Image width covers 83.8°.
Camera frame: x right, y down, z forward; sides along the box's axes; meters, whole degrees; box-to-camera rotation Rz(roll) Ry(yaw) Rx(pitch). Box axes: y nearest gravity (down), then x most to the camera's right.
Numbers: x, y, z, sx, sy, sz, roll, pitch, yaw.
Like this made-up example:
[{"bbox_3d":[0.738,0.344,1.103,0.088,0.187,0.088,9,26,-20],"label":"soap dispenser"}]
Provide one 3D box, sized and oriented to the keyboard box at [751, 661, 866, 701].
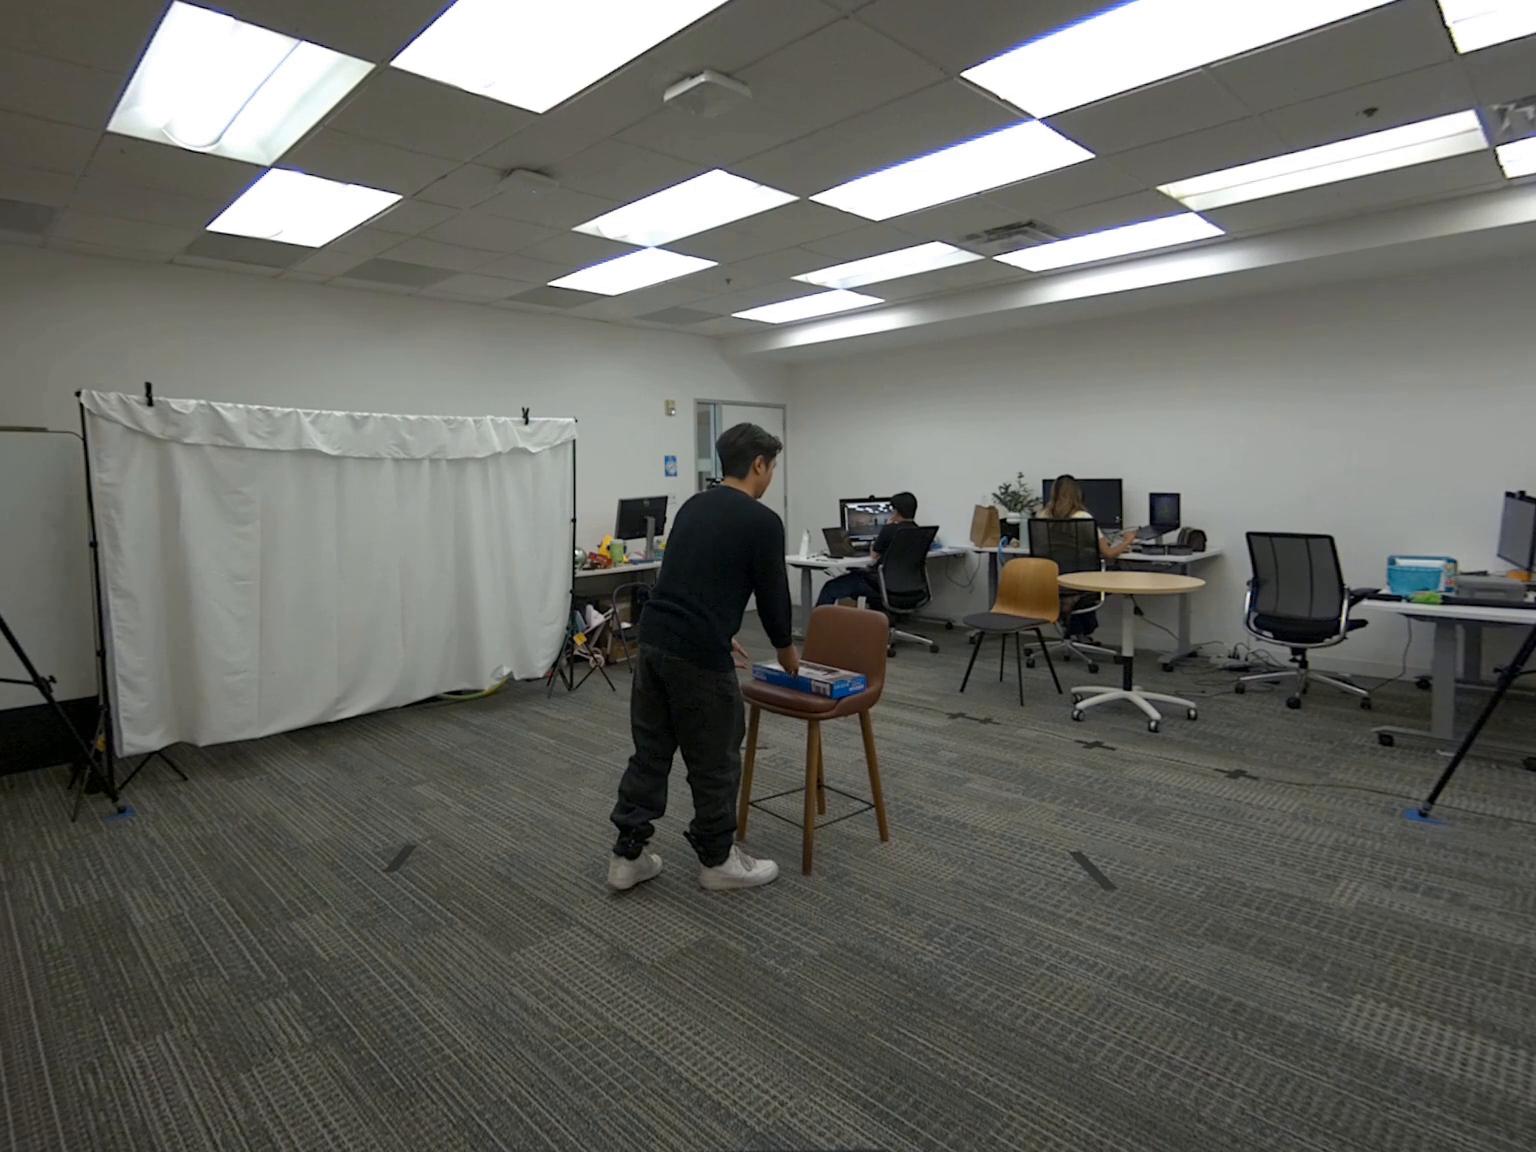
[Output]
[{"bbox_3d":[0.145,0.375,3.225,0.171,0.059,0.450,-8,10,-40],"label":"keyboard box"}]
